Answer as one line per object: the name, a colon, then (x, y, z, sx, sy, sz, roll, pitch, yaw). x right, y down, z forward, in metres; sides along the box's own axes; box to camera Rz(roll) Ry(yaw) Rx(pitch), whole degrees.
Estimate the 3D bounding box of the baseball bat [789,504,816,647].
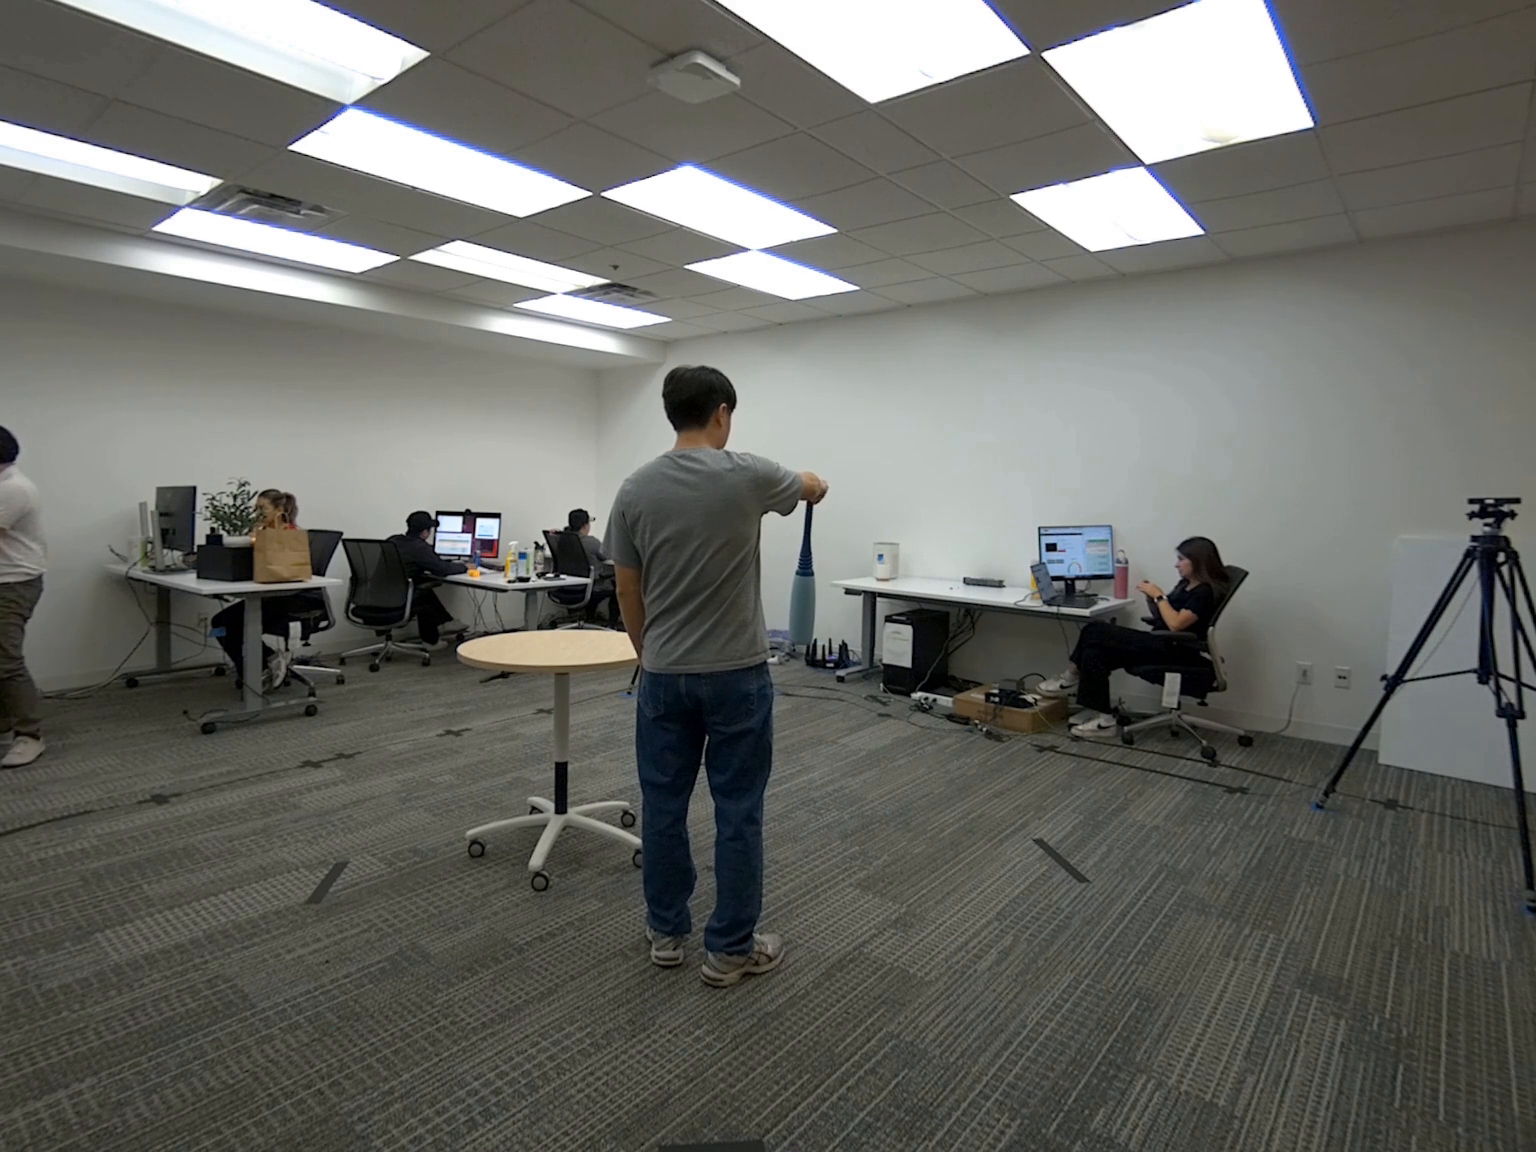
baseball bat: (0.130, -0.016, 2.986, 0.089, 0.539, 0.090, 4, 9, -3)
